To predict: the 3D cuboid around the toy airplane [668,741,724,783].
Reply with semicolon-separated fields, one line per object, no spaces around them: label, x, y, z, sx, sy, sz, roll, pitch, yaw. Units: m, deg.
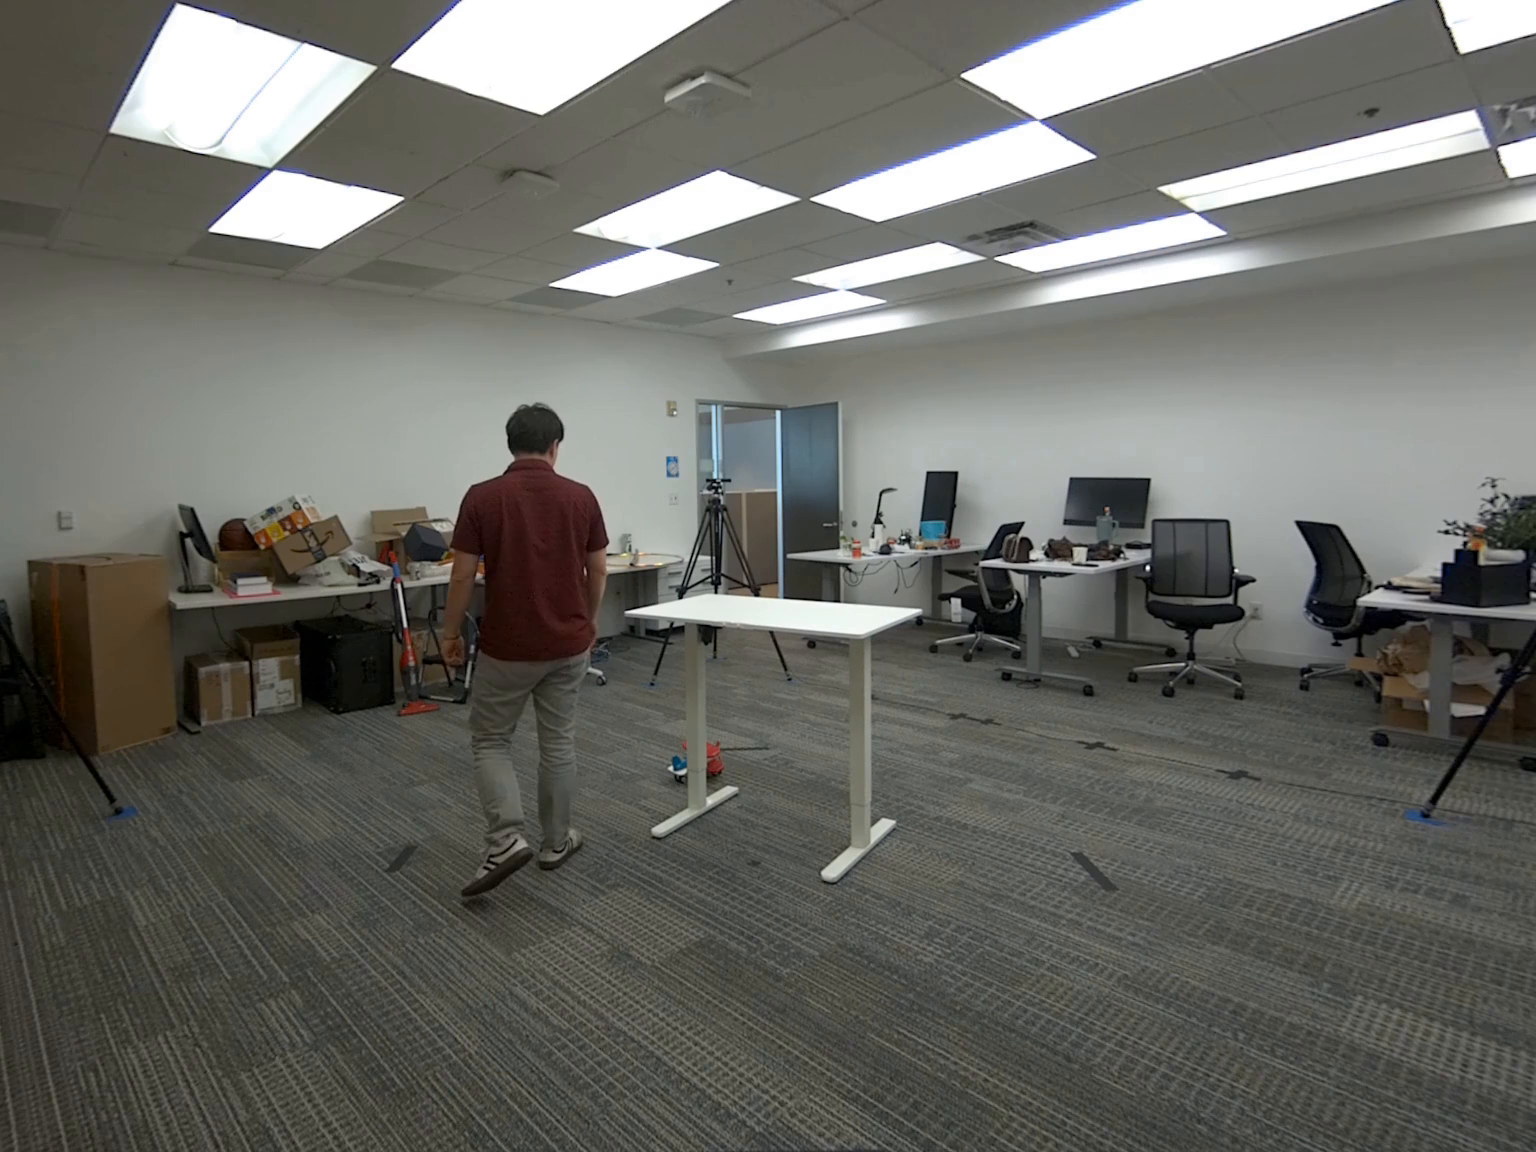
toy airplane;-0.326;0.878;4.014;0.257;0.156;0.254;1;5;23
